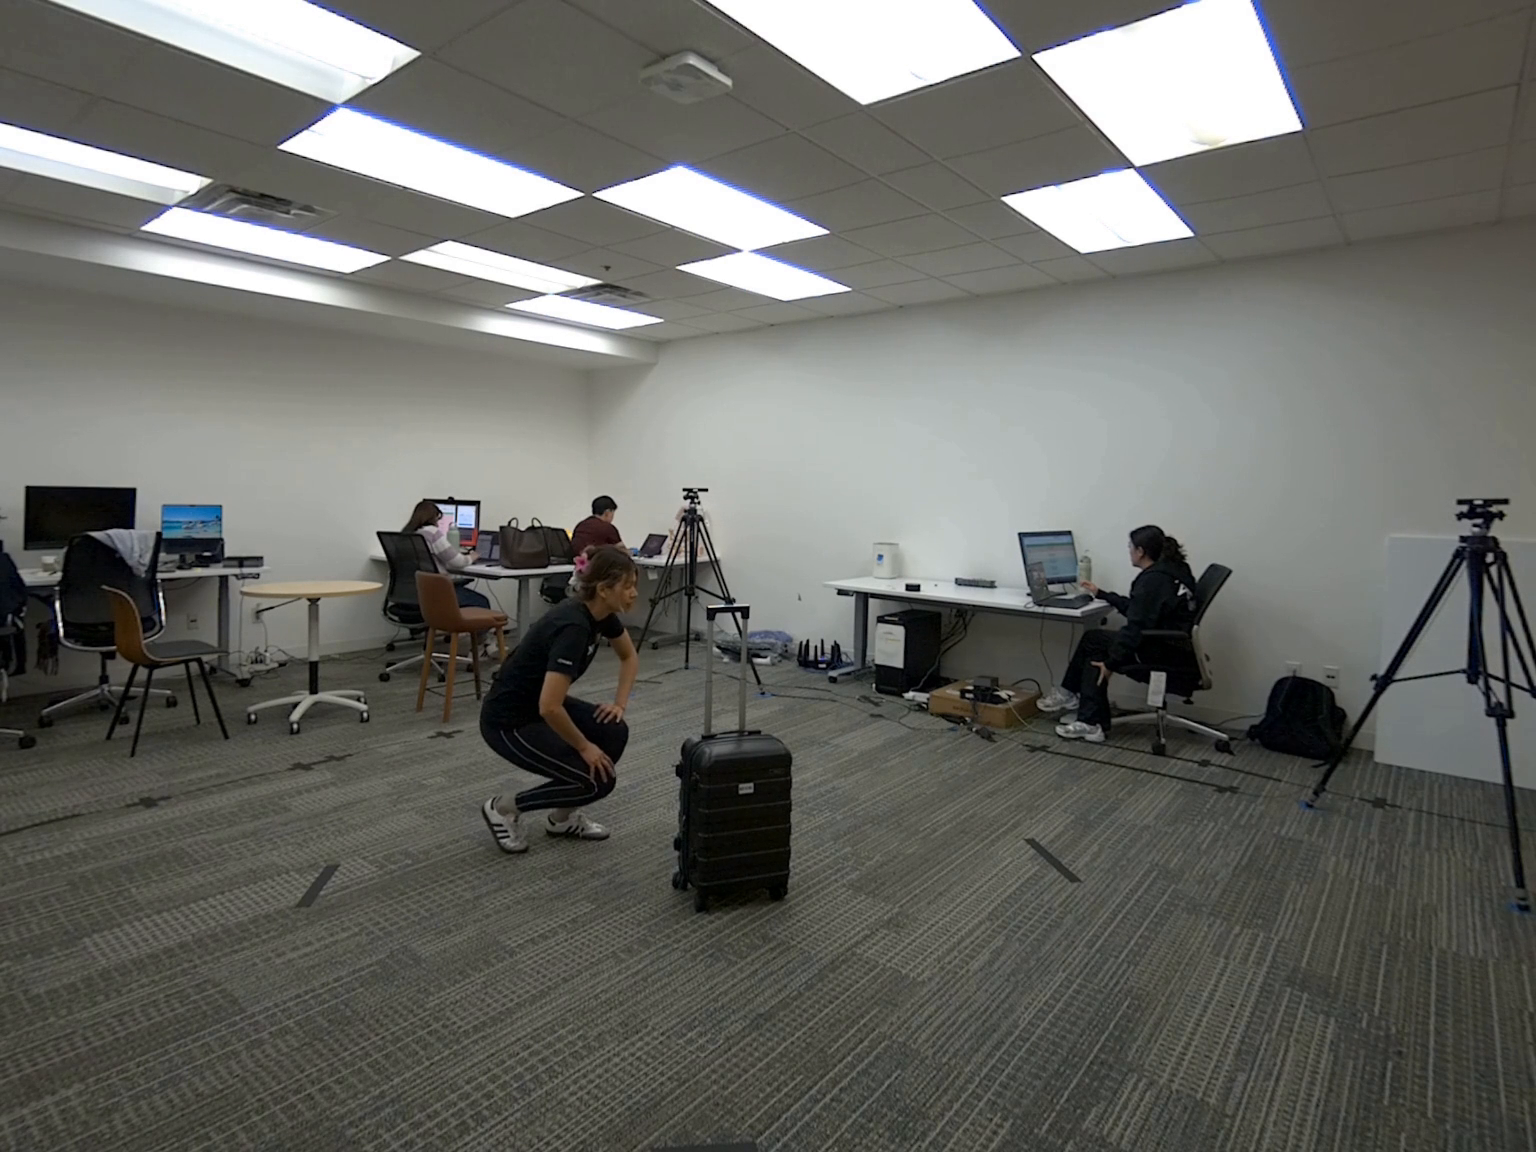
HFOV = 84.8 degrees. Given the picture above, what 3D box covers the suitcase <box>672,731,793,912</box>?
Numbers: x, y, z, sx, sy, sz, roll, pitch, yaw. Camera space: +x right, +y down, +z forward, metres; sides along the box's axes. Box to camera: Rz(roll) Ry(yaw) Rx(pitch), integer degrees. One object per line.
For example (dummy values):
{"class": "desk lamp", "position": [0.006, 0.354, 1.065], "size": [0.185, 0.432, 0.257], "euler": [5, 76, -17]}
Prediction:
{"class": "suitcase", "position": [-0.115, 0.613, 2.904], "size": [0.376, 0.974, 0.263], "euler": [0, 6, -20]}
